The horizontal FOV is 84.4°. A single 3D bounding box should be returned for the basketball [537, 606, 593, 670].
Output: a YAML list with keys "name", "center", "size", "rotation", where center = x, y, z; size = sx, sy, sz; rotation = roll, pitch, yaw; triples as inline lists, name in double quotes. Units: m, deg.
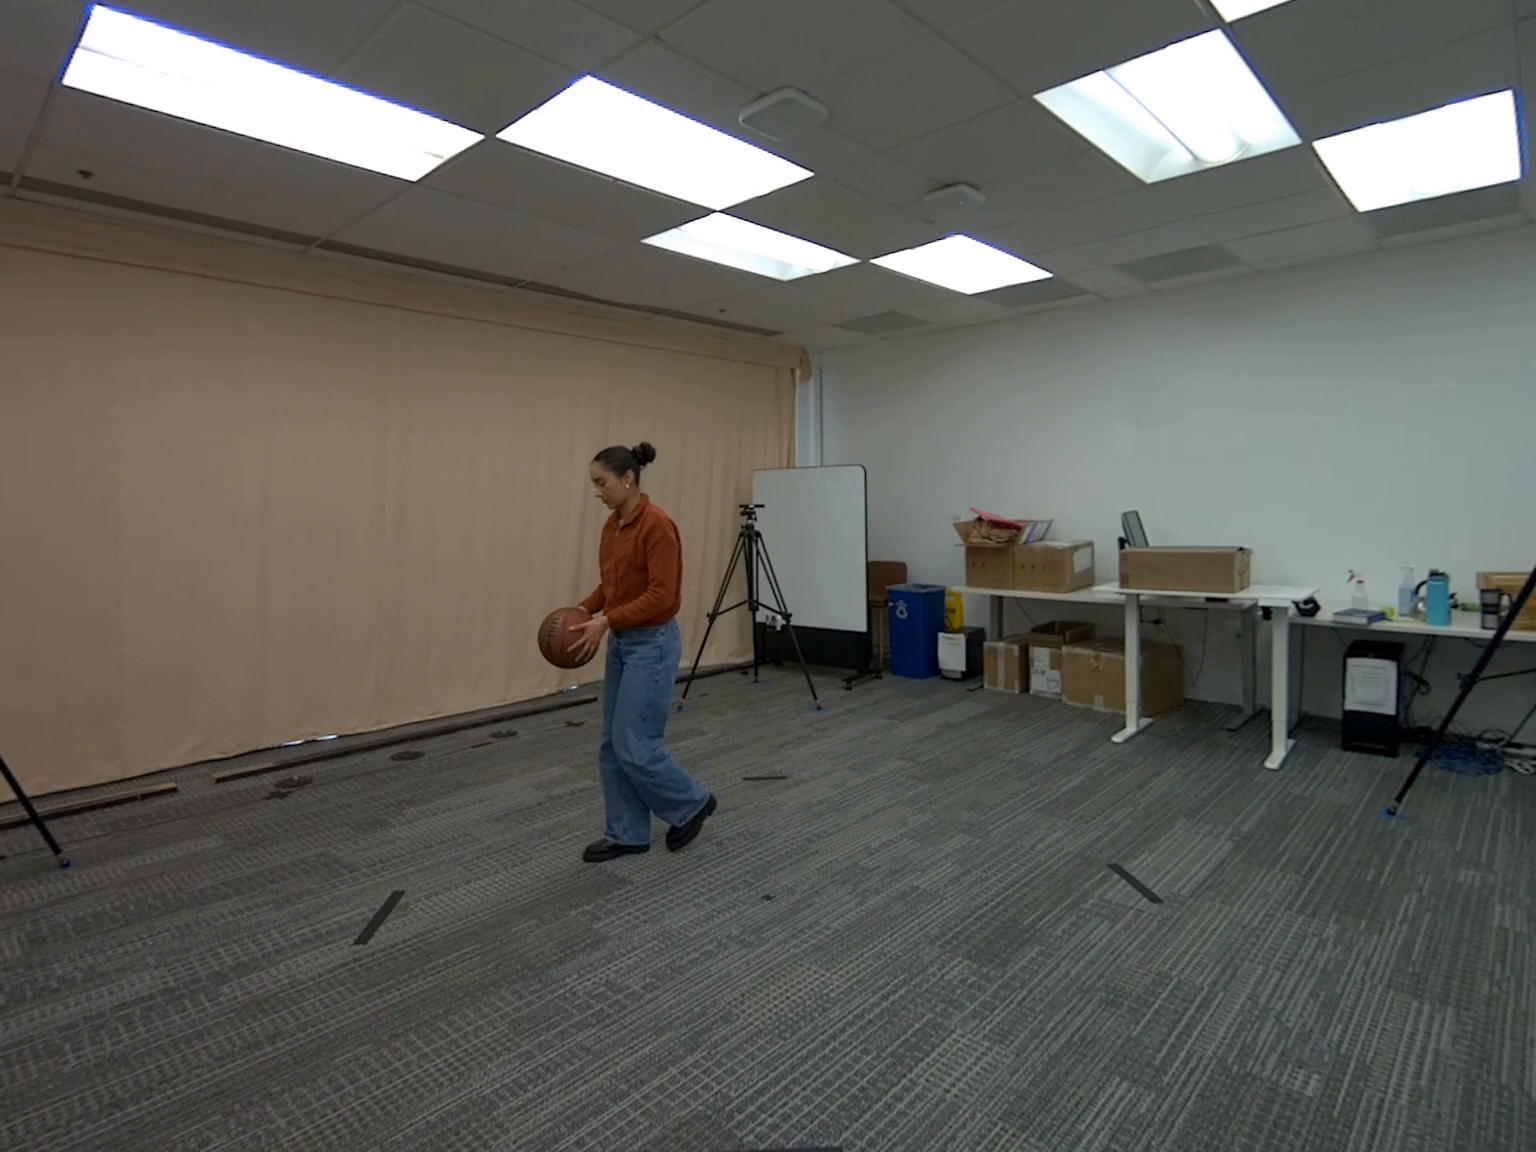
- name: "basketball"
  center: [-0.751, 0.232, 3.218]
  size: [0.236, 0.235, 0.237]
  rotation: [-1, 4, -2]
